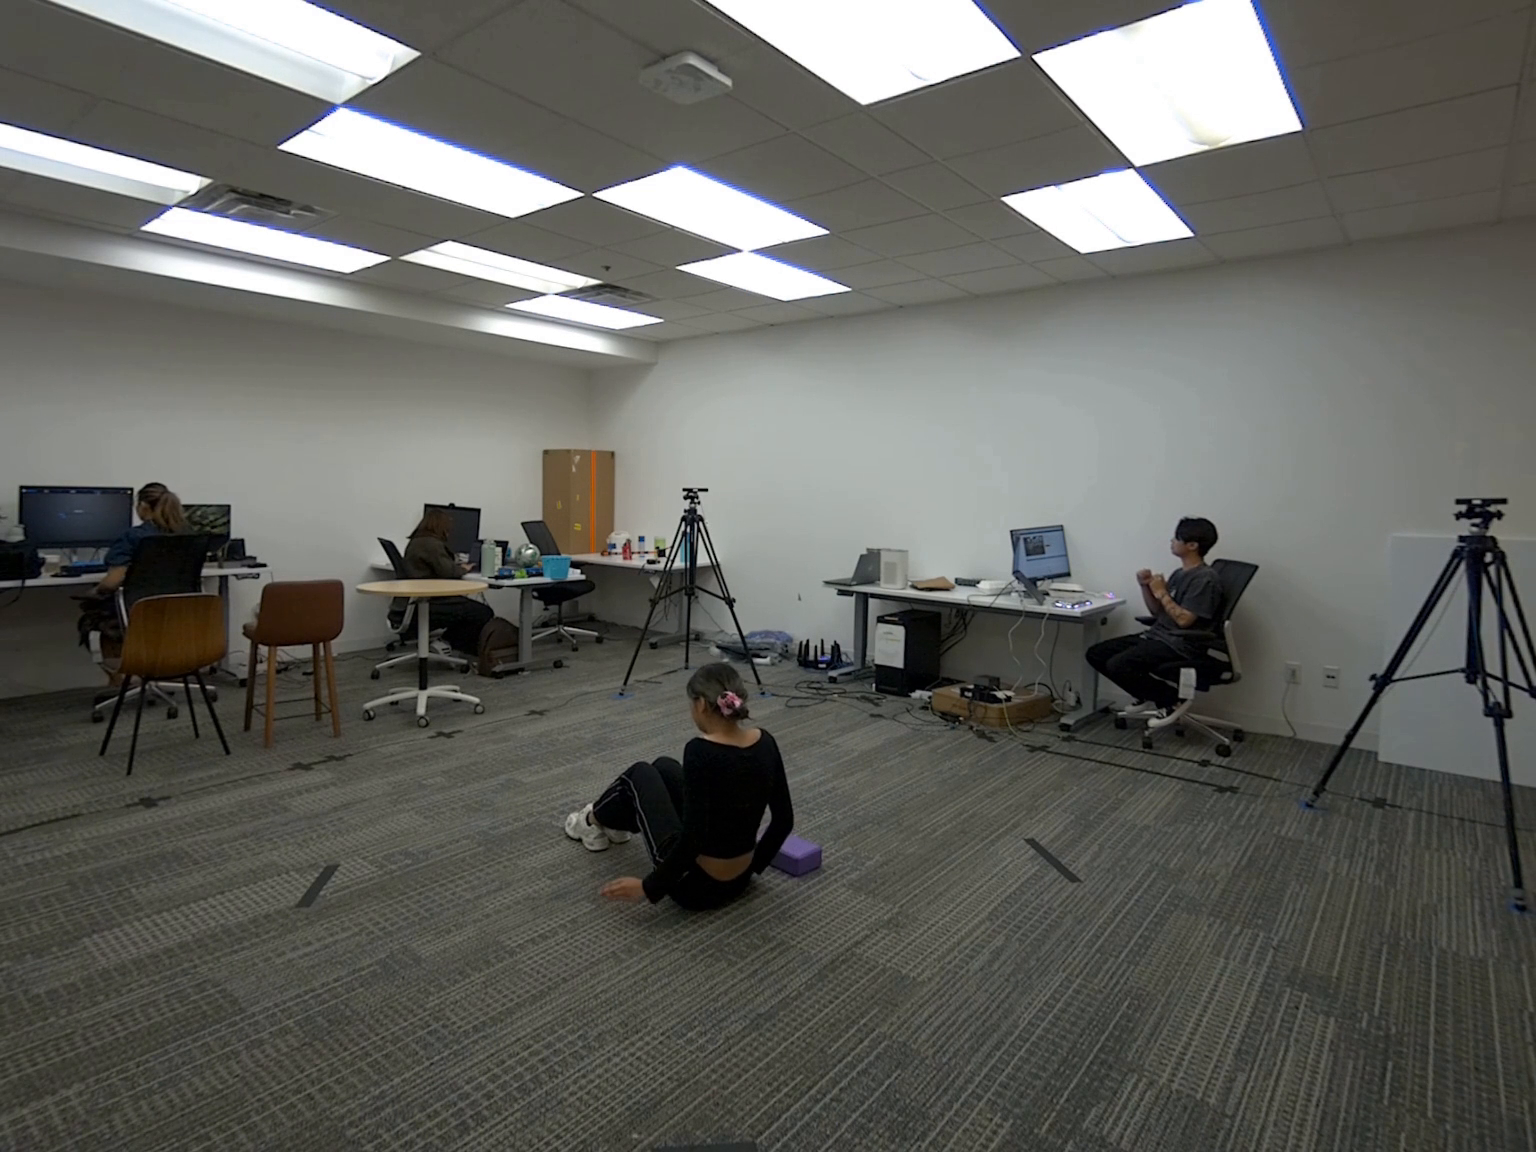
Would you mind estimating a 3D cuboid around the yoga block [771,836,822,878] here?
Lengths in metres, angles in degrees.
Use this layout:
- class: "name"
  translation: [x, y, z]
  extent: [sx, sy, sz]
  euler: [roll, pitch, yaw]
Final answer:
- class: "yoga block"
  translation: [0.063, 1.032, 3.176]
  extent: [0.237, 0.076, 0.144]
  euler: [6, 7, 42]
